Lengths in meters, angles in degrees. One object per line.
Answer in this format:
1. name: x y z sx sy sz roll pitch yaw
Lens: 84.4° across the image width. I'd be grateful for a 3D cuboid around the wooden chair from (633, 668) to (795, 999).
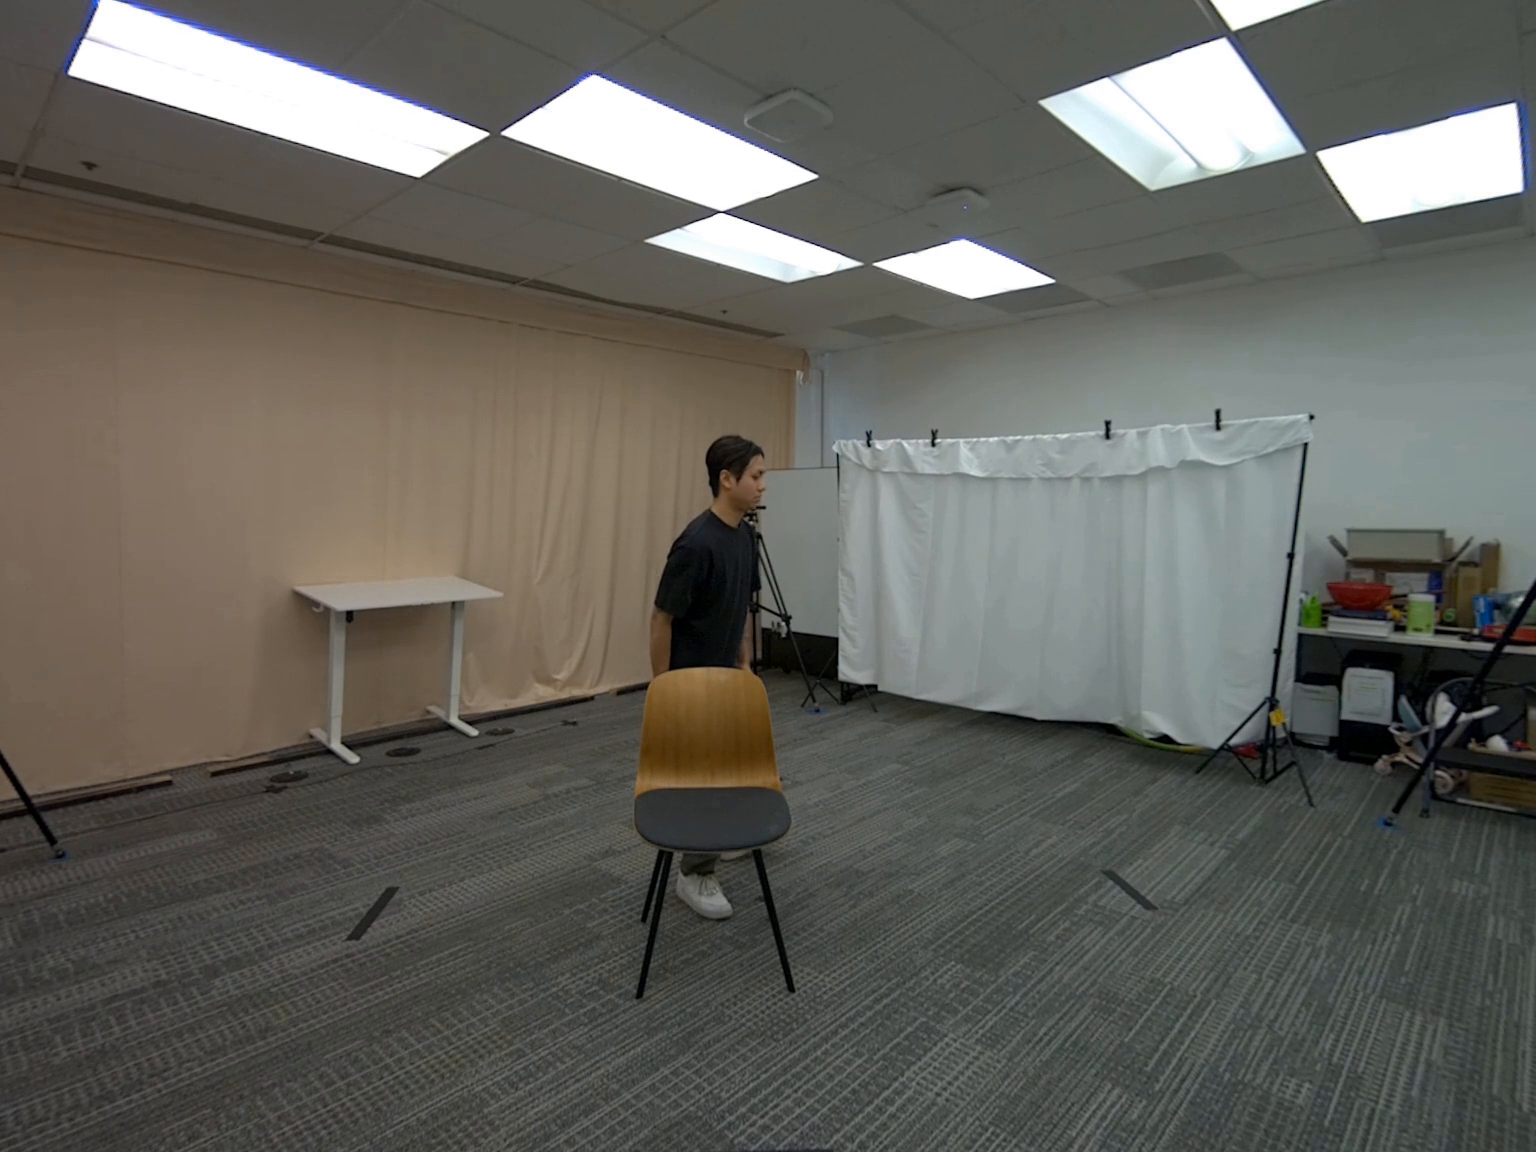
1. wooden chair: -0.162 0.749 2.579 0.475 0.878 0.526 0 -1 -6
